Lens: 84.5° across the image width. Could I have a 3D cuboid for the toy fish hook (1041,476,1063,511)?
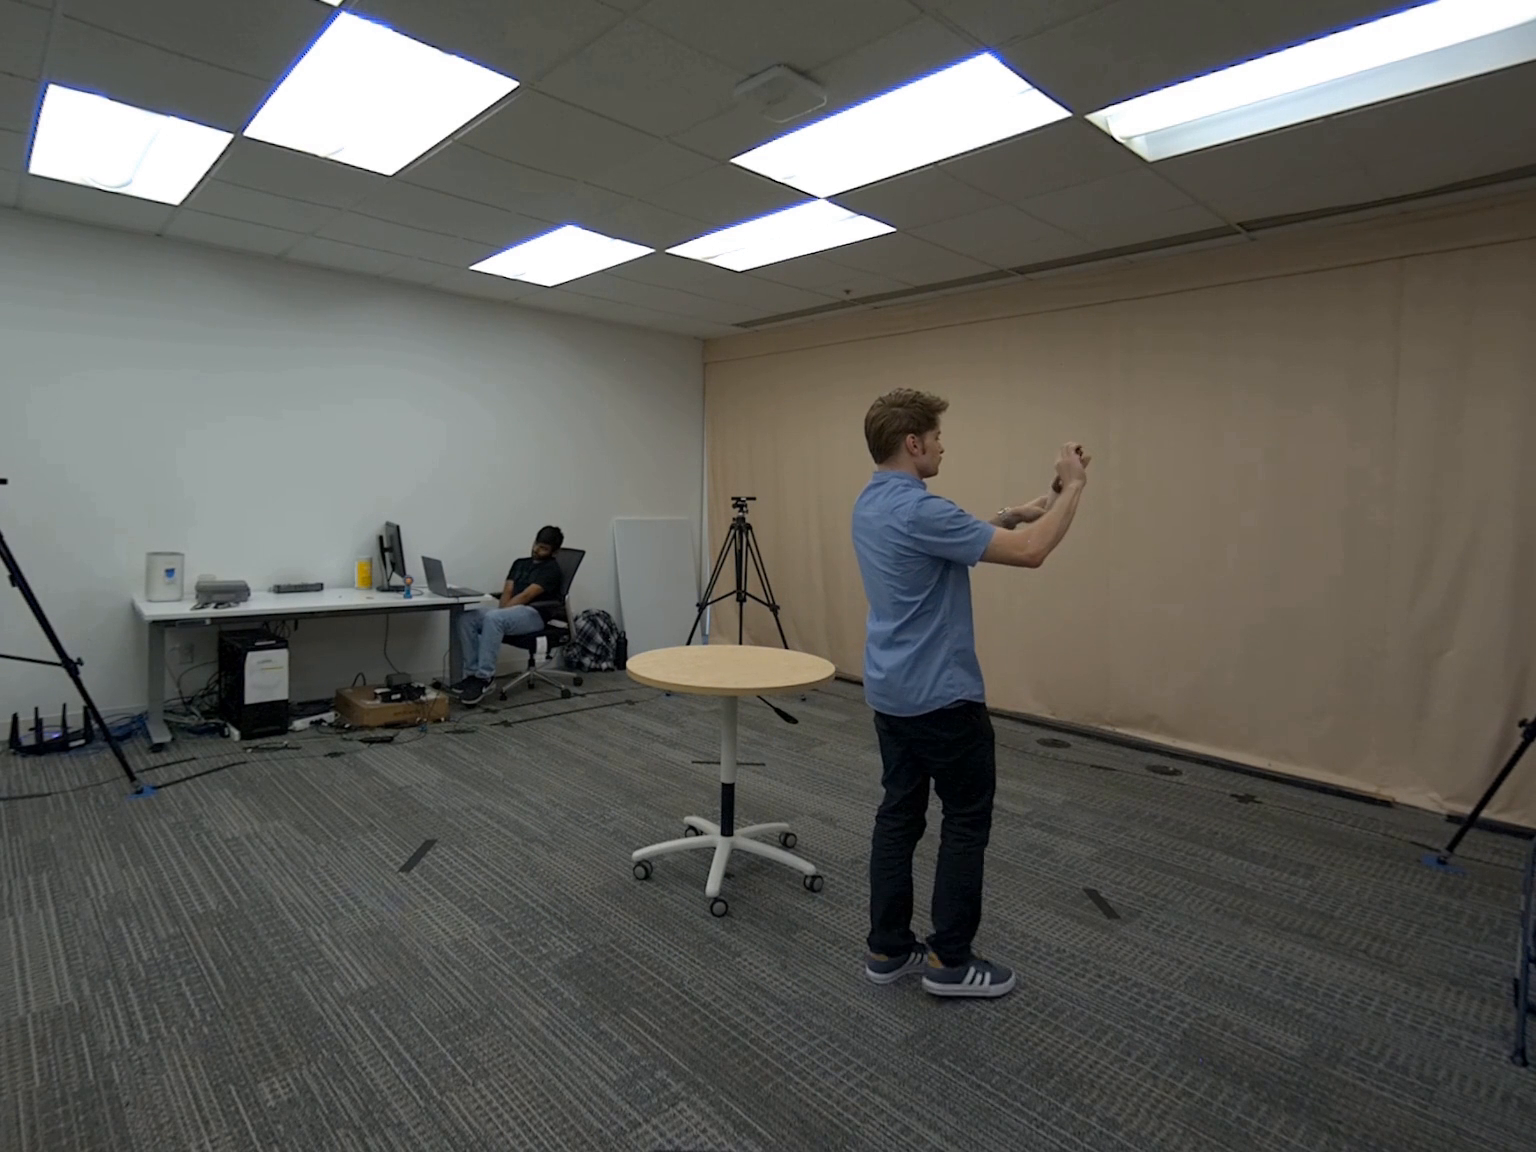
[{"bbox_3d":[0.880,-0.273,2.534,0.049,0.226,0.496,16,-24,11],"label":"toy fish hook"}]
